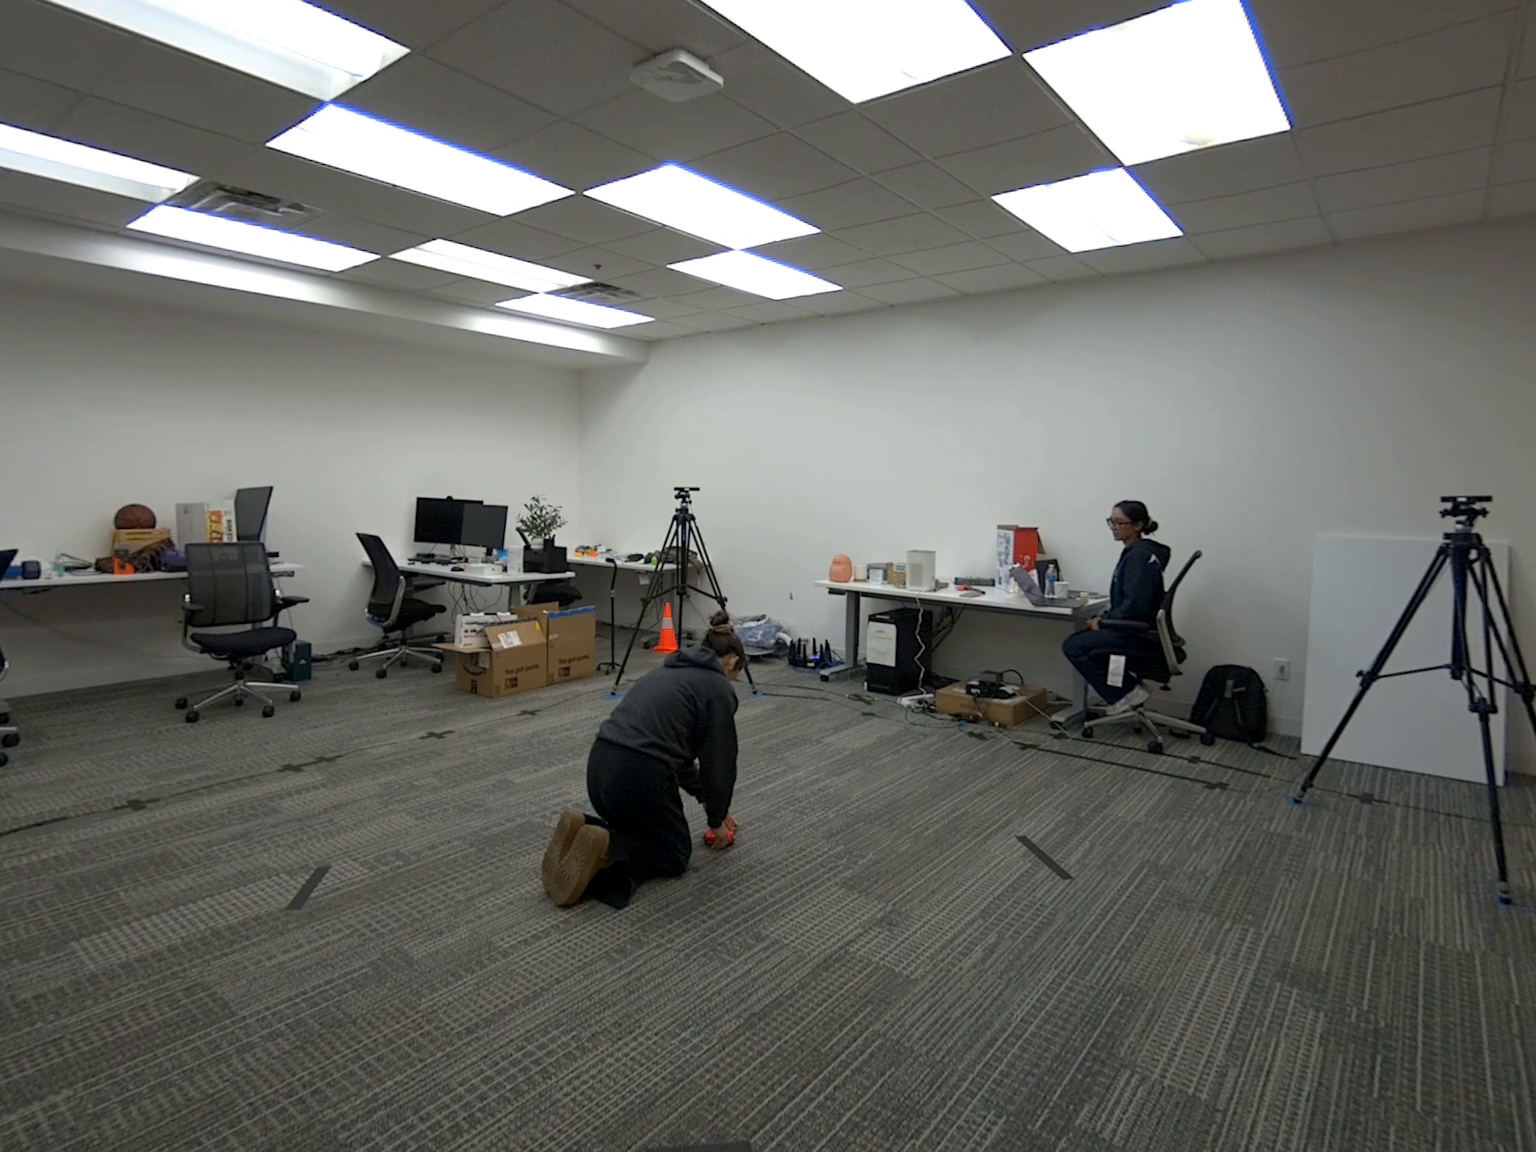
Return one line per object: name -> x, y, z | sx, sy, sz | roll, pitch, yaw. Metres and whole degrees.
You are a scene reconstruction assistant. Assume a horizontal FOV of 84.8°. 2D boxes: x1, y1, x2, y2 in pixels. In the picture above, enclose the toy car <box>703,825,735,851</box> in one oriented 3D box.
toy car -> -0.192, 1.007, 3.375 | 0.131, 0.084, 0.251 | -3, -6, 3
